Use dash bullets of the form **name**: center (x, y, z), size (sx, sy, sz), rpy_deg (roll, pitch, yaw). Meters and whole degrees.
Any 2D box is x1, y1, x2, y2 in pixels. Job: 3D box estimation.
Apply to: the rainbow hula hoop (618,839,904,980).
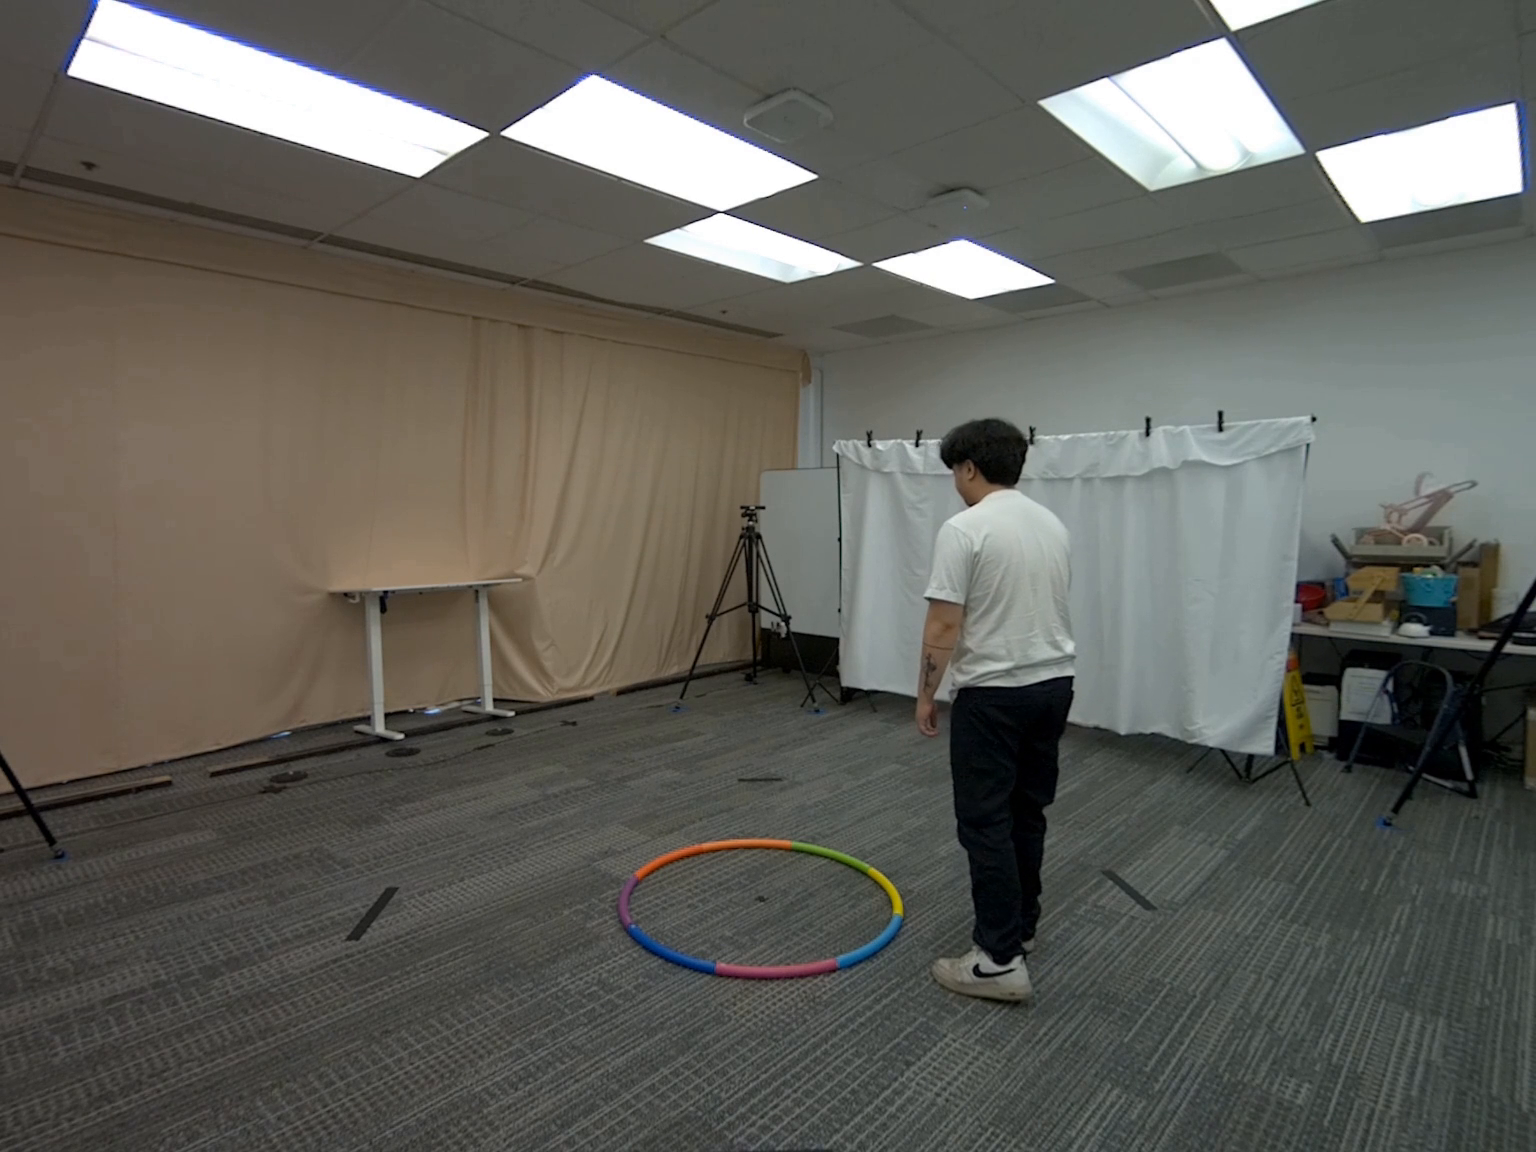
- **rainbow hula hoop**: center (-0.026, 1.123, 2.952), size (0.985, 0.051, 0.989), rpy_deg (0, 5, -2)
